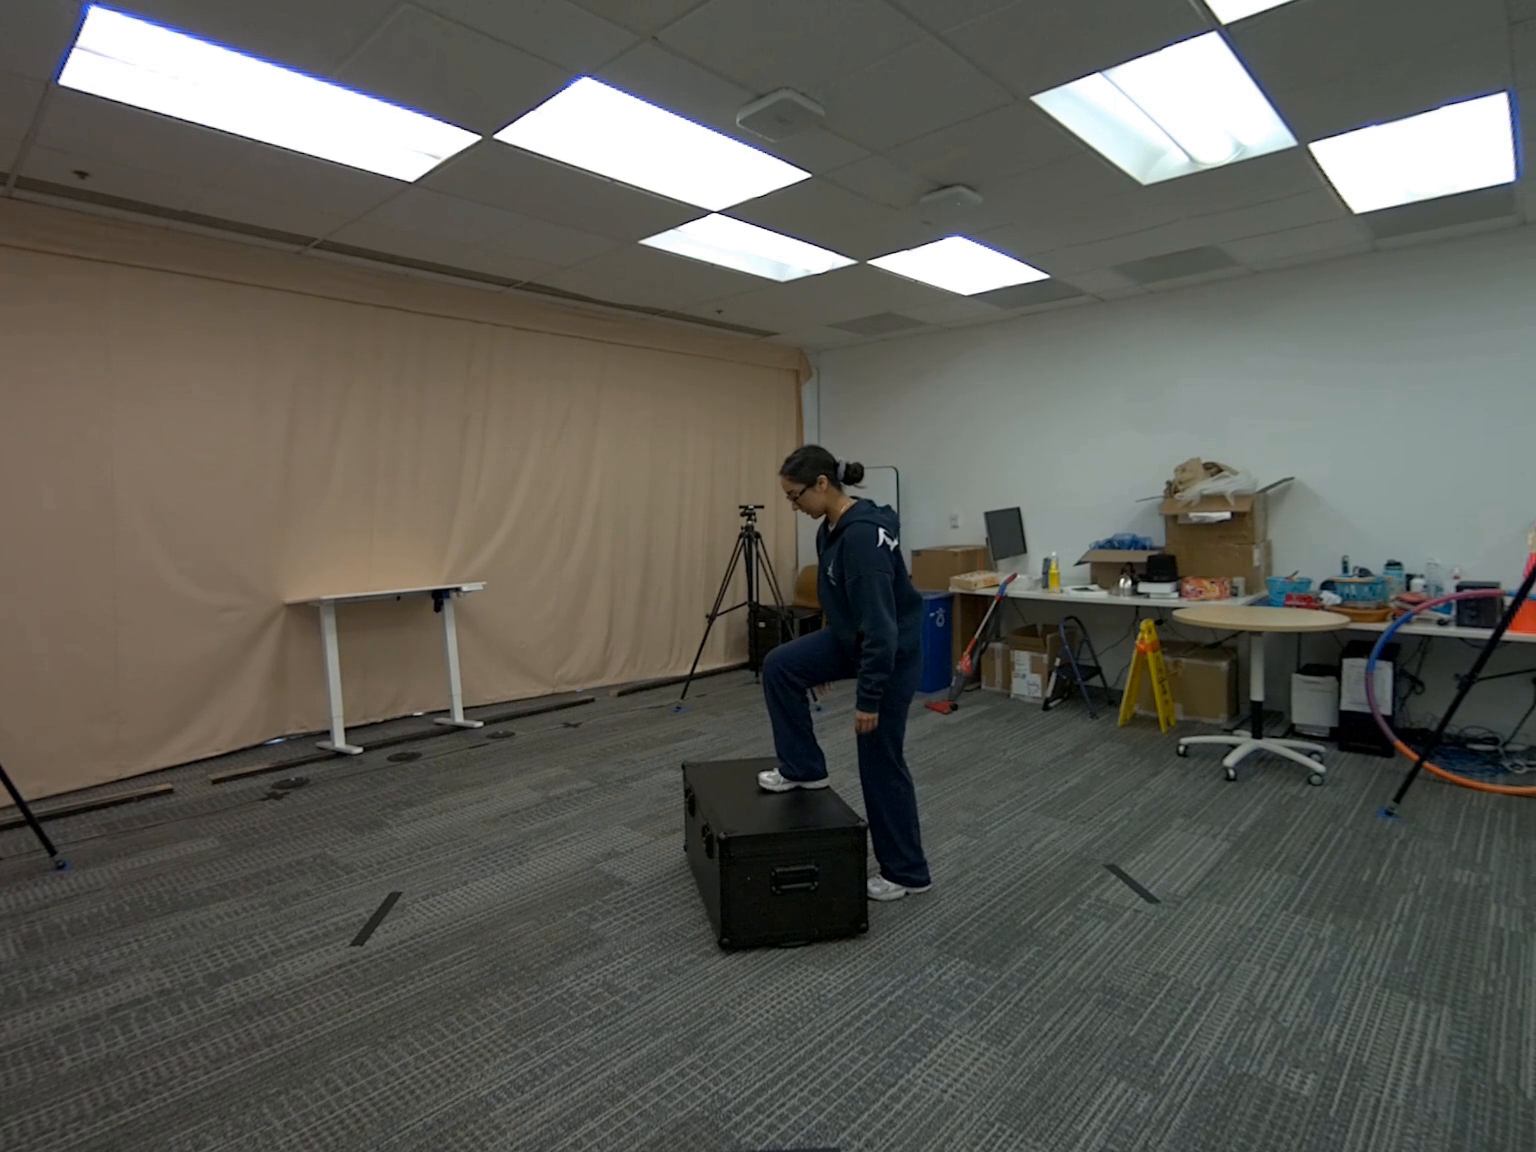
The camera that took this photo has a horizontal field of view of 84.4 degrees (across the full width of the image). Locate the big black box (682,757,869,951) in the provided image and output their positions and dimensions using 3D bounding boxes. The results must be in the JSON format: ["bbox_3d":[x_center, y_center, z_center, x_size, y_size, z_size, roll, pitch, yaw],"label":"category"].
[{"bbox_3d":[-0.014,0.945,3.044,0.514,0.395,0.875,-2,5,-13],"label":"big black box"}]
